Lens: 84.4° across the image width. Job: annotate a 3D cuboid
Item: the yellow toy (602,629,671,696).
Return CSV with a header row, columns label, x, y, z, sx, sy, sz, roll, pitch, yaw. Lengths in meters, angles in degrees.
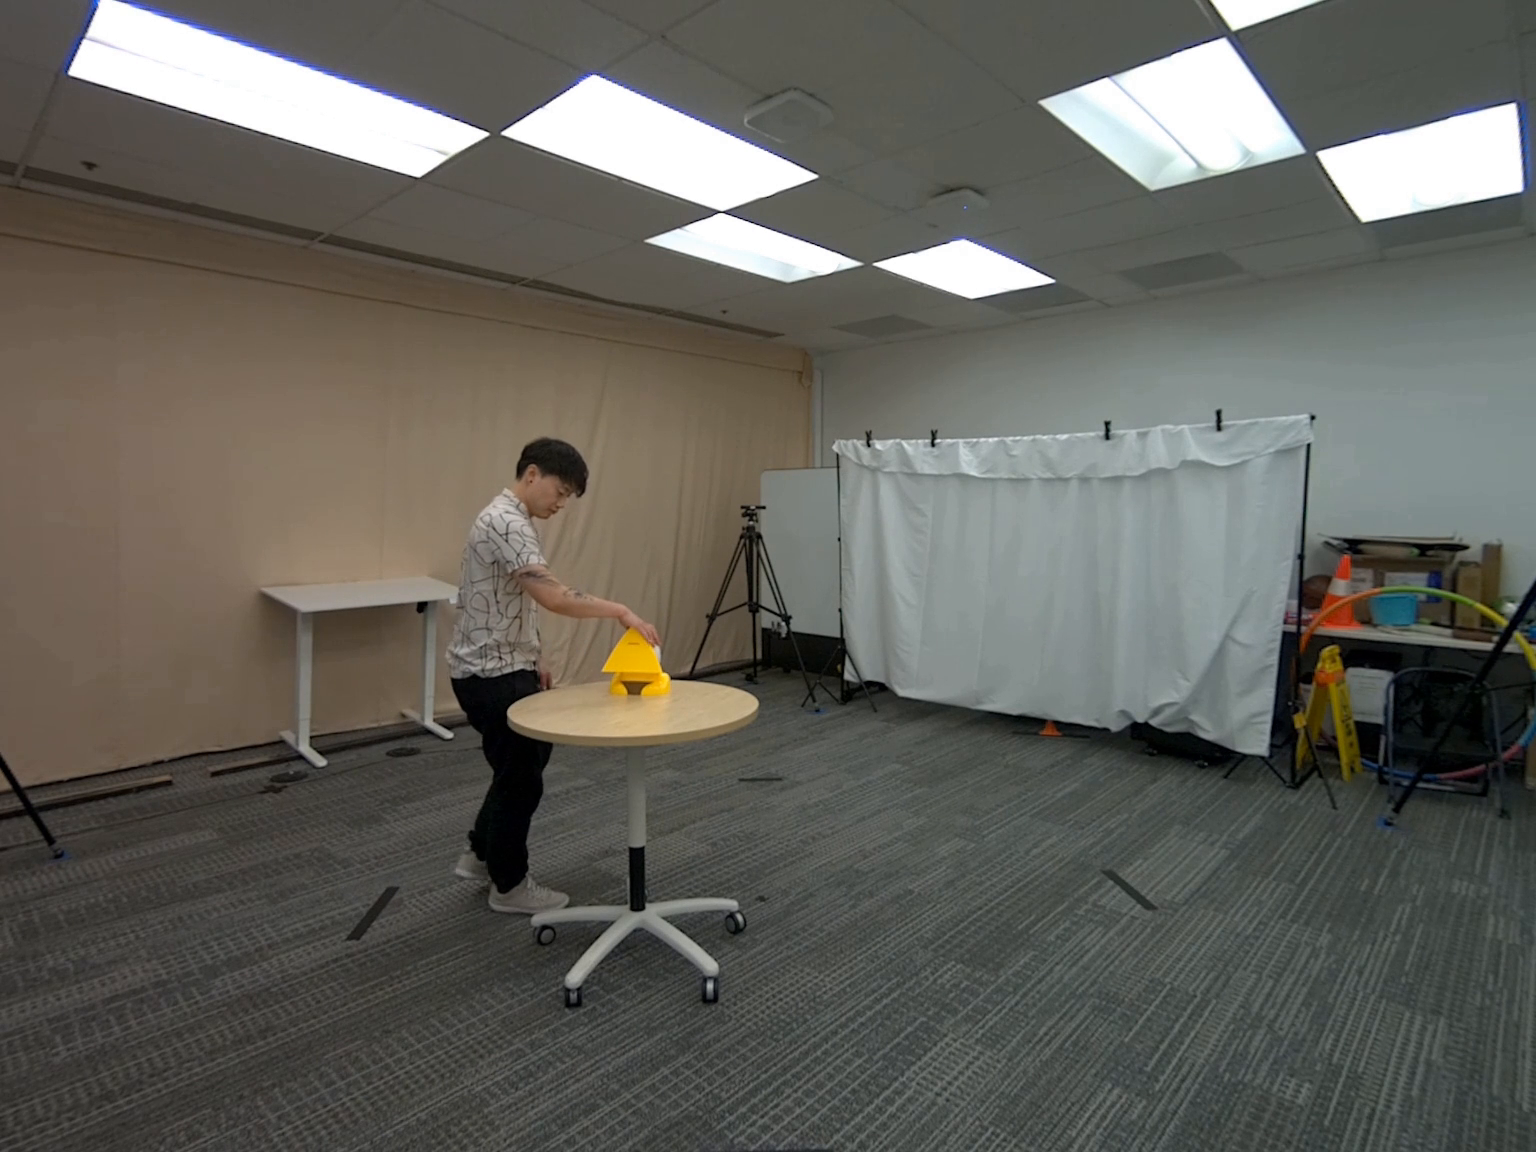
label,x,y,z,sx,sy,sz,roll,pitch,yaw
yellow toy,-0.426,0.270,2.784,0.207,0.230,0.191,0,2,10
